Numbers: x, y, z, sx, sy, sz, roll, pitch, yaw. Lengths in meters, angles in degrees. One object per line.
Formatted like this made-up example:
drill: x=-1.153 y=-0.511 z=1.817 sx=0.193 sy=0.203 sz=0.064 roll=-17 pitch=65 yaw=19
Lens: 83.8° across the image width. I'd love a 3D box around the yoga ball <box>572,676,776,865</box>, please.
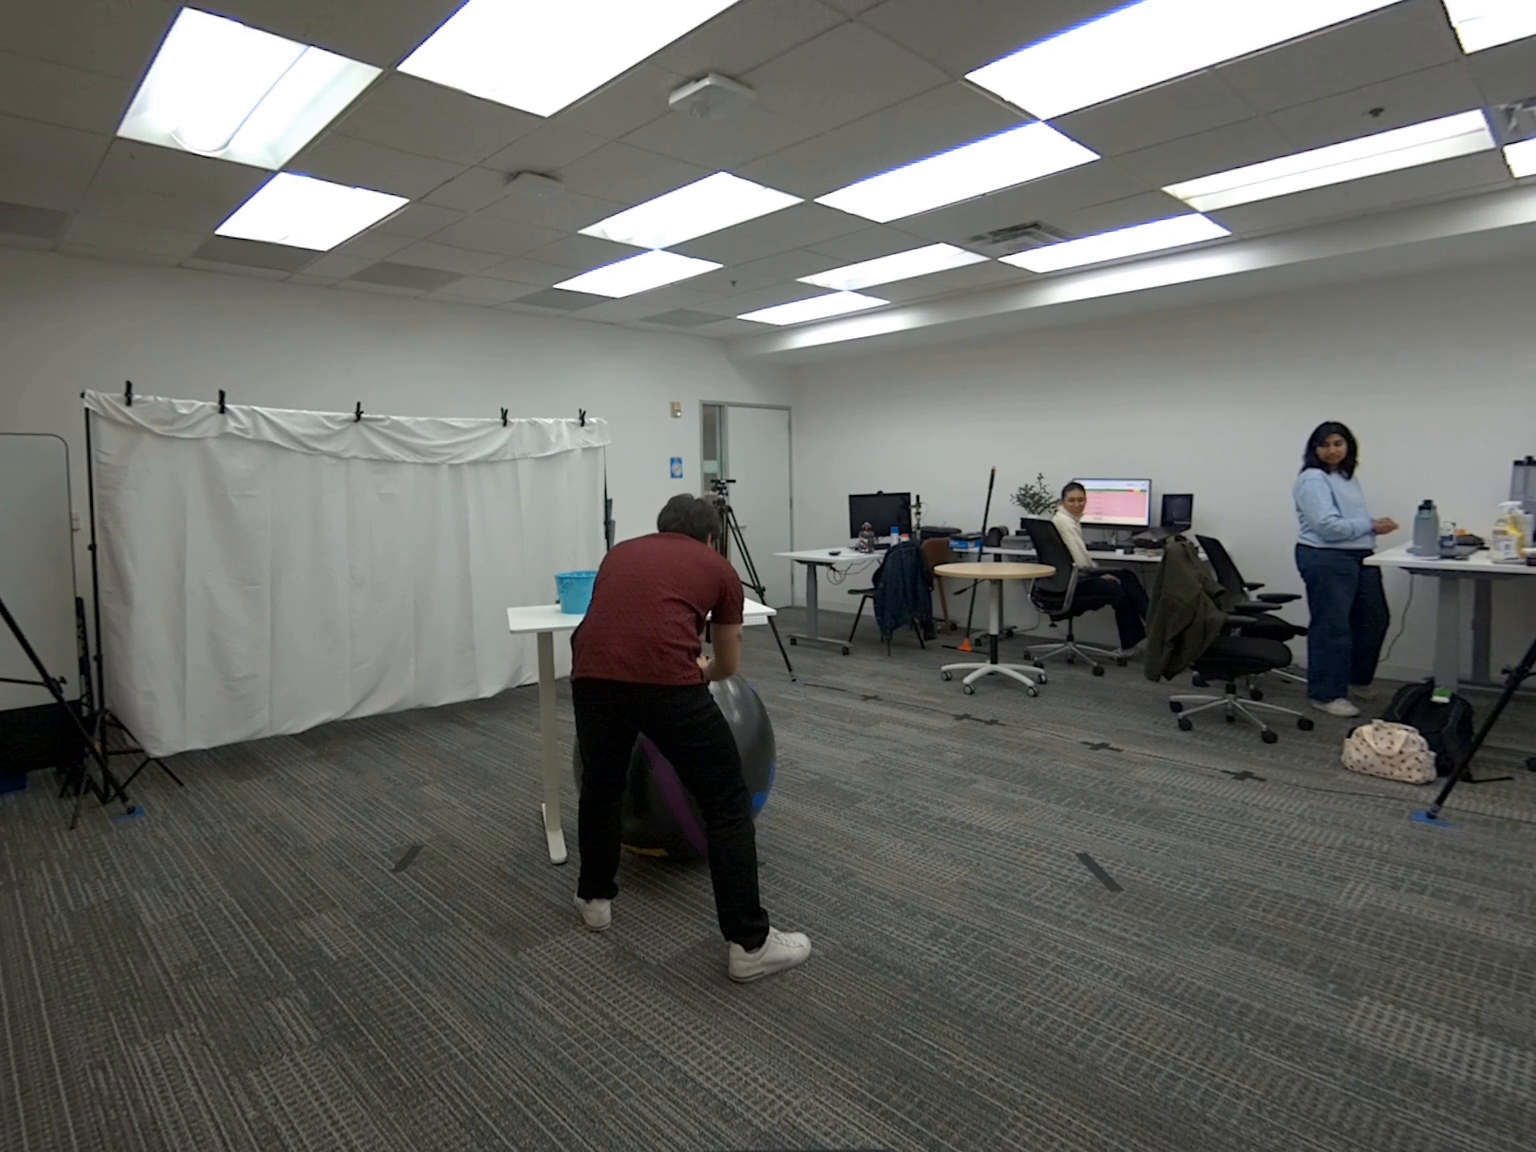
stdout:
yoga ball: x=-0.348 y=0.674 z=3.212 sx=0.757 sy=0.755 sz=0.762 roll=-1 pitch=5 yaw=-2
